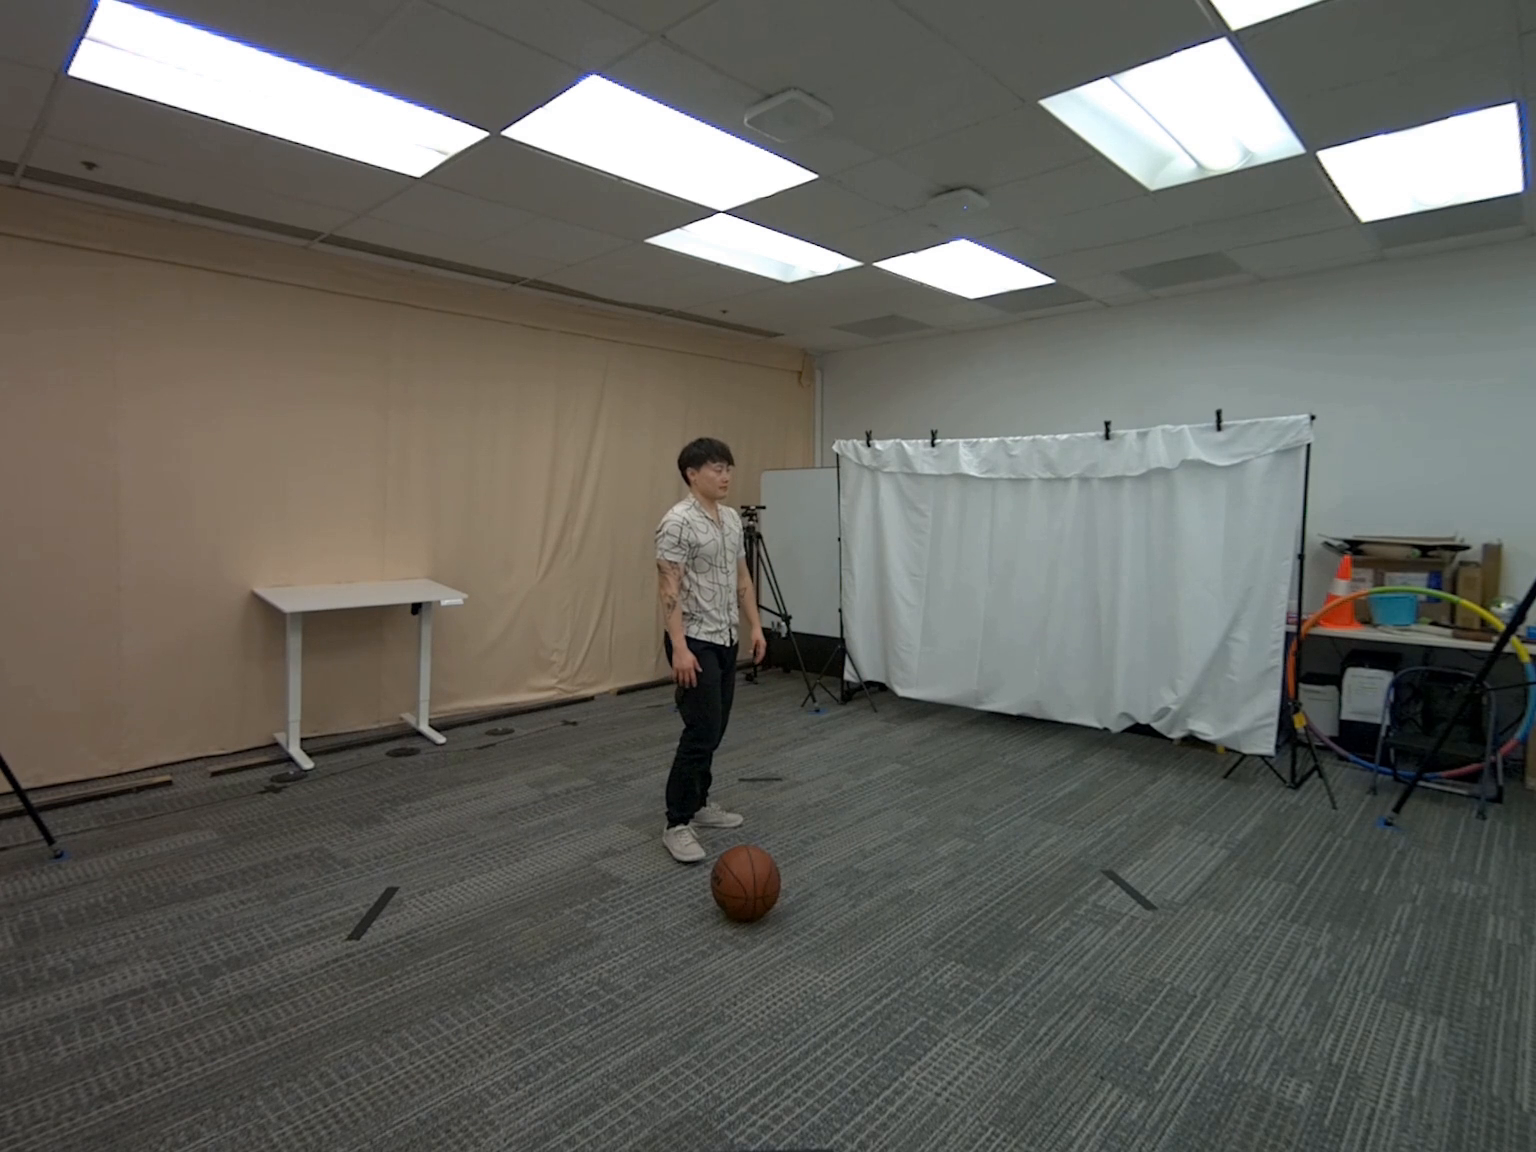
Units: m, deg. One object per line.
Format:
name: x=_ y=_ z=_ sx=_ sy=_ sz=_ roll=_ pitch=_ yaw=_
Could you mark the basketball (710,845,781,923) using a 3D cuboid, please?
basketball: x=-0.071 y=1.029 z=2.852 sx=0.236 sy=0.235 sz=0.237 roll=0 pitch=4 yaw=-2
